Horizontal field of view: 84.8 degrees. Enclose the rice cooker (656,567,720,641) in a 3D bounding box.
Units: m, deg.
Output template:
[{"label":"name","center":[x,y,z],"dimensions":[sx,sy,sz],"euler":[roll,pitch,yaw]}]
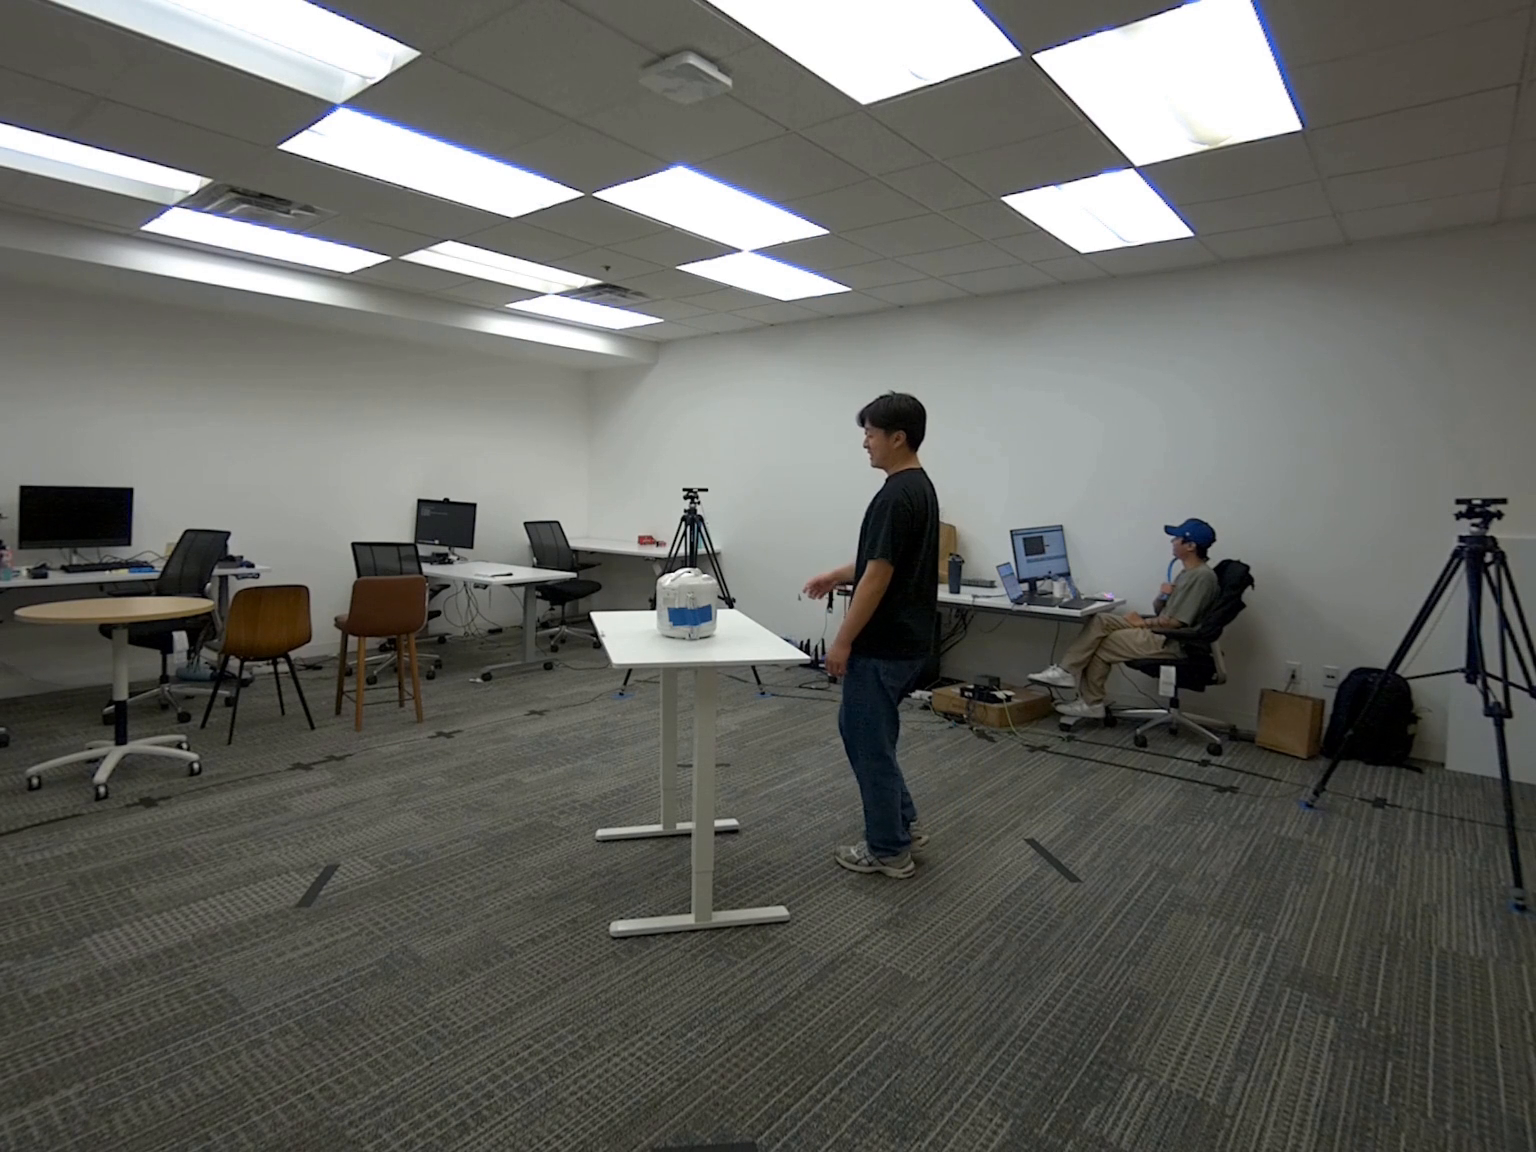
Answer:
[{"label":"rice cooker","center":[-0.289,0.086,2.943],"dimensions":[0.224,0.232,0.215],"euler":[6,6,31]}]
